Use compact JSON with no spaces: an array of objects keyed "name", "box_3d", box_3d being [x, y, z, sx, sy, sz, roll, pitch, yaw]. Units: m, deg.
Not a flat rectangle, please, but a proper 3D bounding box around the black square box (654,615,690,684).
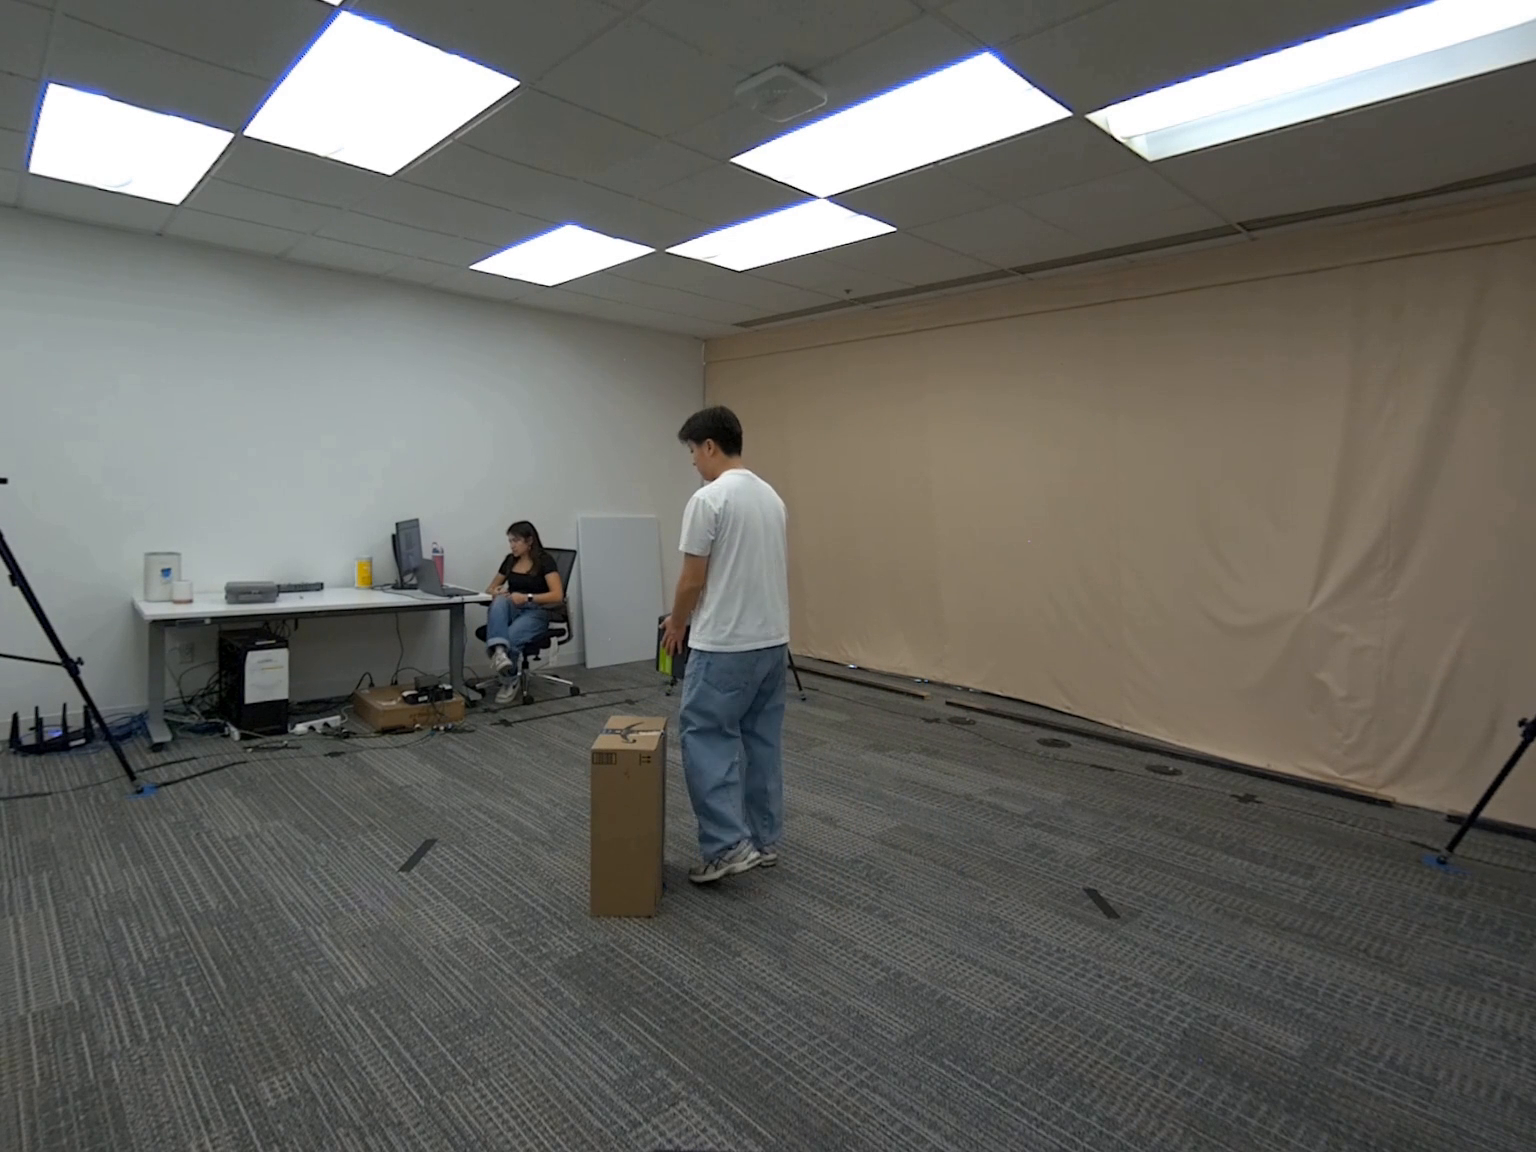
[{"name":"black square box","box_3d":[-0.323,0.275,3.373,0.160,0.226,0.213,10,13,31]}]
